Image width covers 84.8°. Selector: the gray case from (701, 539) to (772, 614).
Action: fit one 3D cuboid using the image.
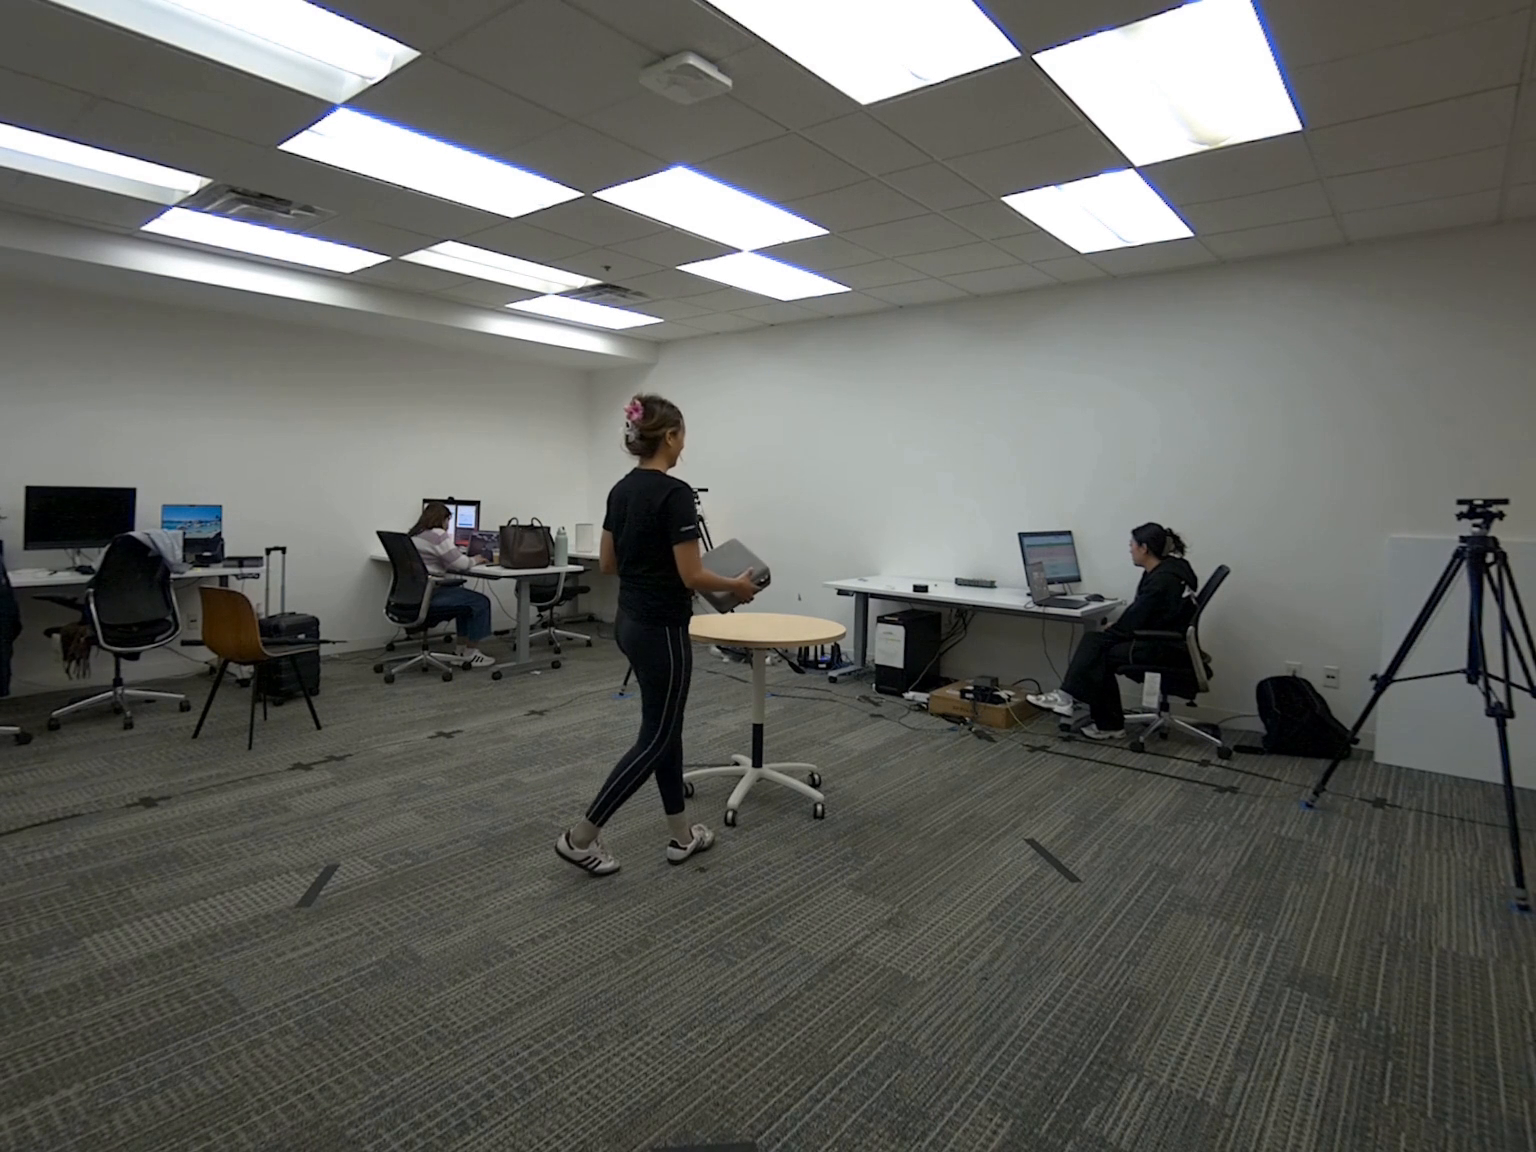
[{"bbox_3d":[-0.174,-0.005,3.321,0.255,0.100,0.272,-33,47,-16],"label":"gray case"}]
